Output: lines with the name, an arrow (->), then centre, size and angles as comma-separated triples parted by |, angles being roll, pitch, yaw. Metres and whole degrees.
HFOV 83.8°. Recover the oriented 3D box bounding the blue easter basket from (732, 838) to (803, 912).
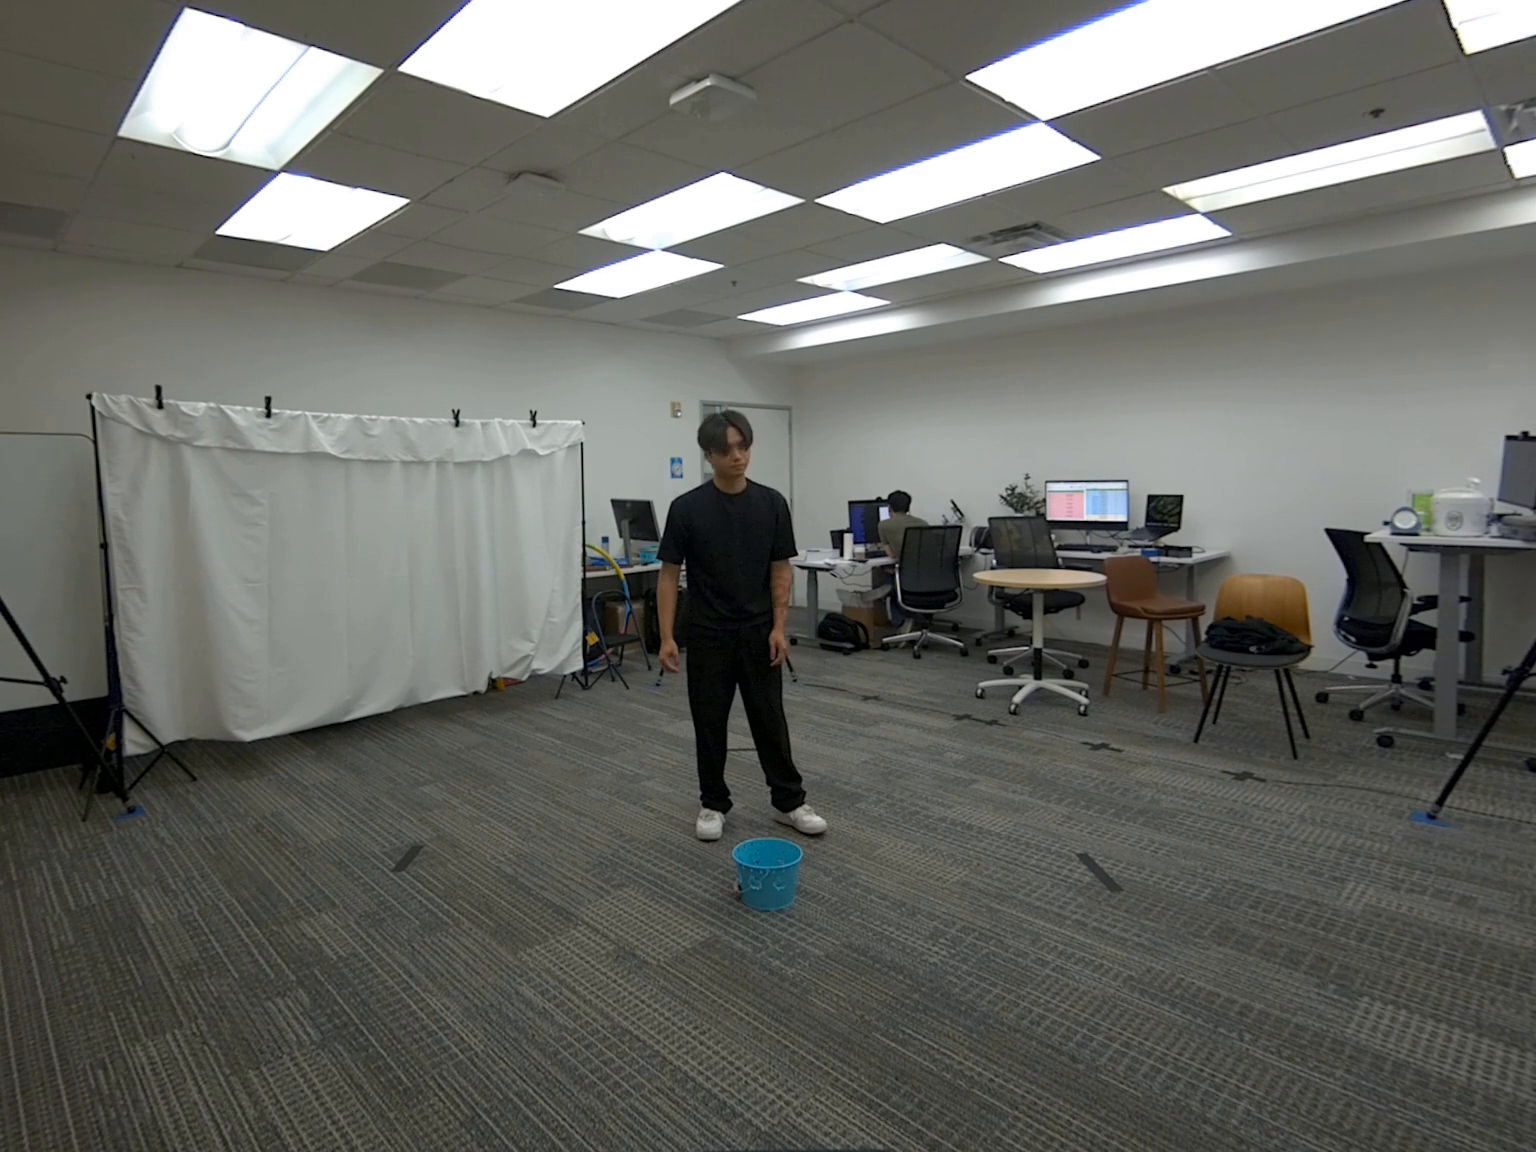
blue easter basket -> 0.000, 0.998, 2.858 | 0.243, 0.155, 0.245 | -1, 5, -2
